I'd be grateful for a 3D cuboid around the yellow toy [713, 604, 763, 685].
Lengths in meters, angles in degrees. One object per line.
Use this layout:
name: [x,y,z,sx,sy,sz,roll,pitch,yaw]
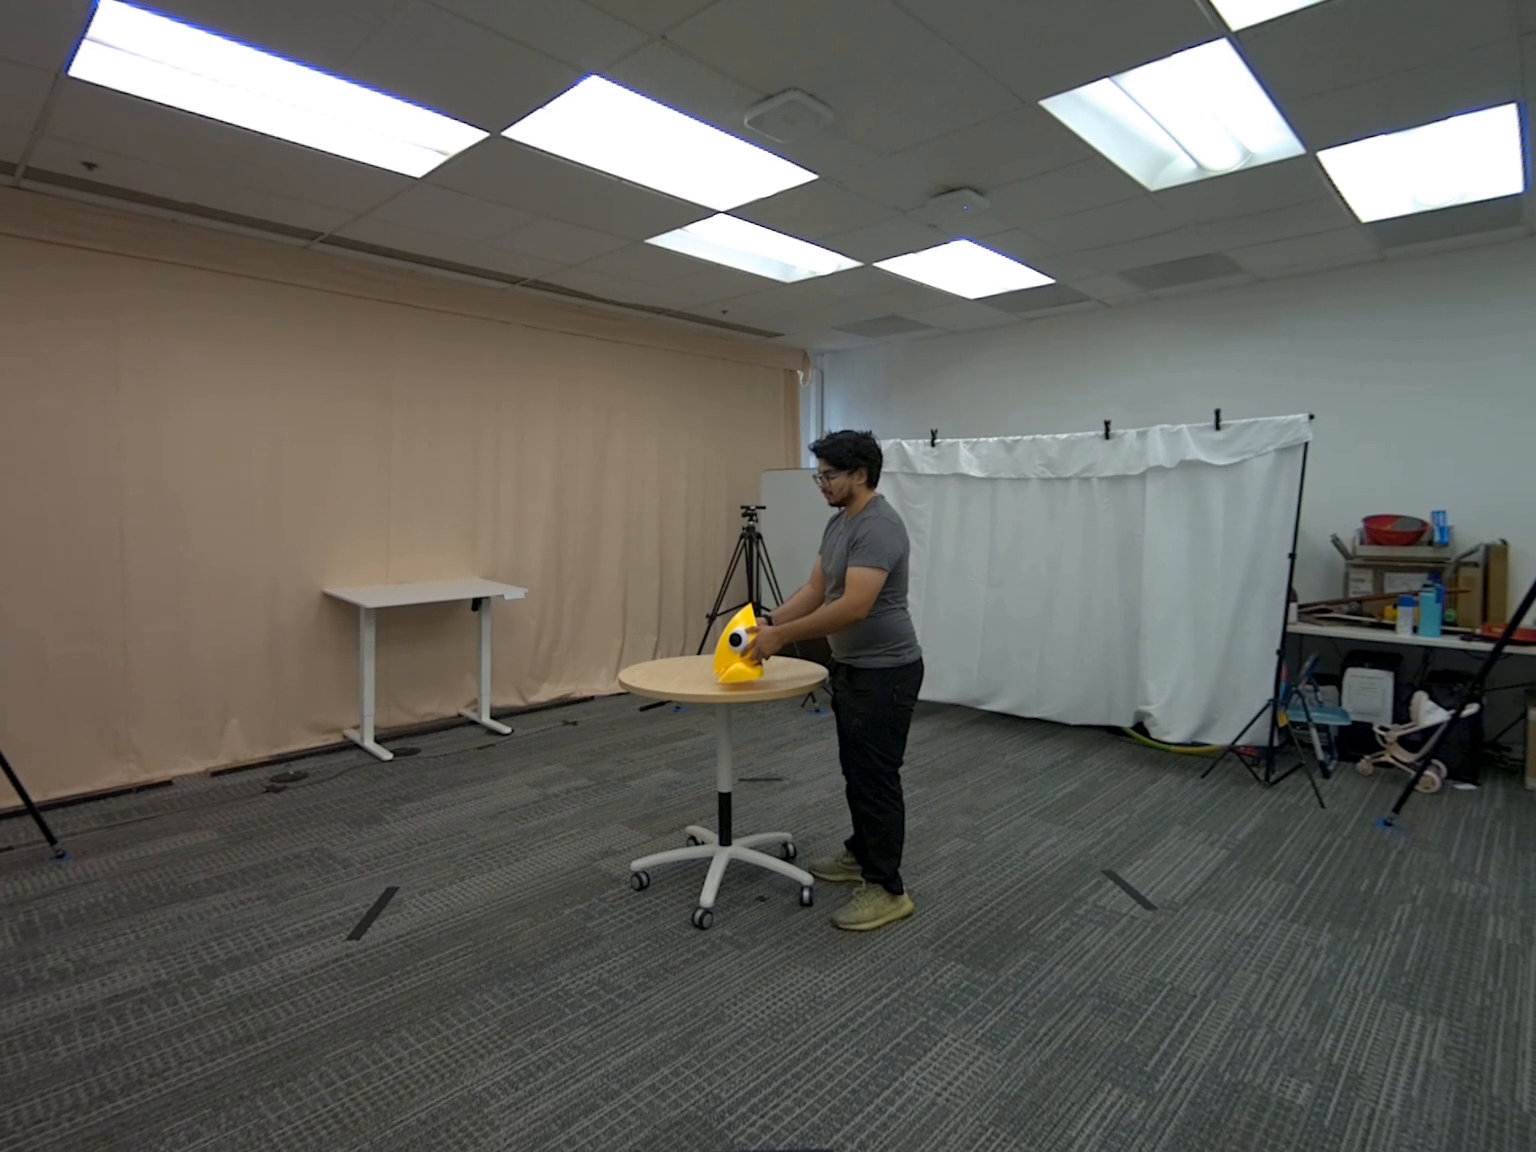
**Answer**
yellow toy: [-0.094,0.214,2.813,0.192,0.230,0.207,-9,5,-6]
